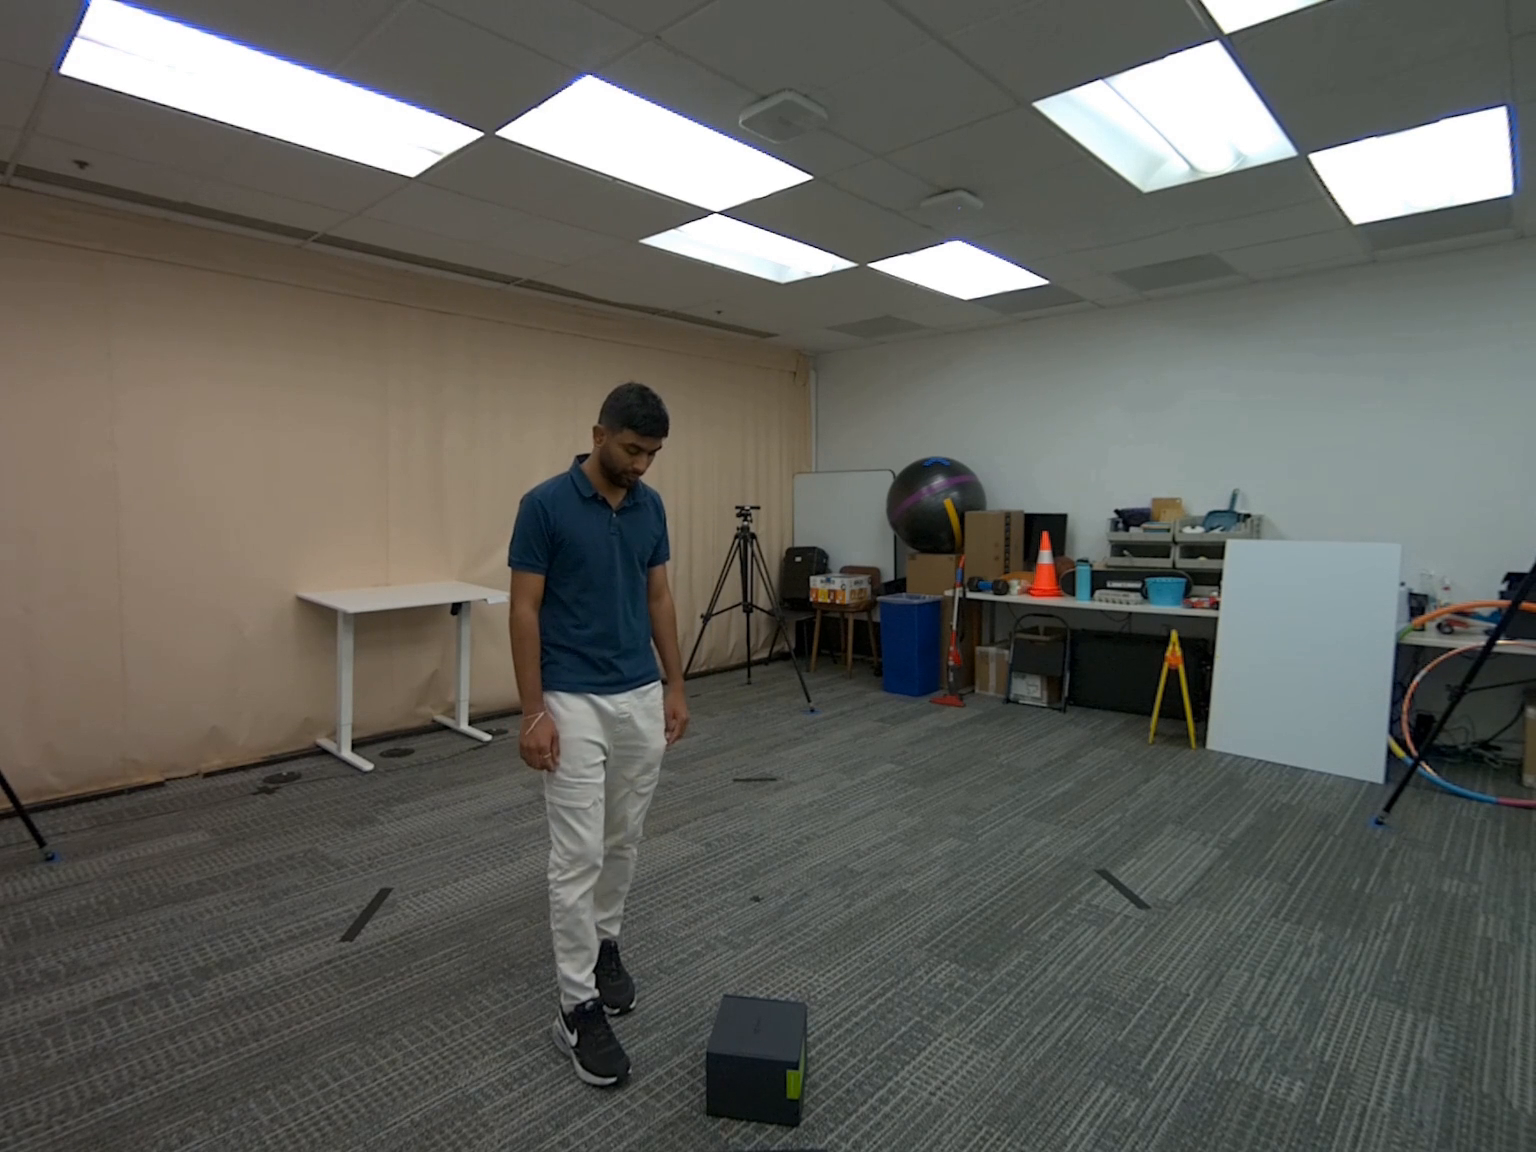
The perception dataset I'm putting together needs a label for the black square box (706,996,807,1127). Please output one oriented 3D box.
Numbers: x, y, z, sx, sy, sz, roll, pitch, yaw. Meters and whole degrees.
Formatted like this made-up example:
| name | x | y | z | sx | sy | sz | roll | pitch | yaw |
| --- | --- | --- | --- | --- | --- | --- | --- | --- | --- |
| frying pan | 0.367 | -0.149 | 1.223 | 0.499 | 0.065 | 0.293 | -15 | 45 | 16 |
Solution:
| name | x | y | z | sx | sy | sz | roll | pitch | yaw |
| --- | --- | --- | --- | --- | --- | --- | --- | --- | --- |
| black square box | -0.018 | 1.145 | 2.000 | 0.219 | 0.155 | 0.226 | 0 | 3 | 8 |
